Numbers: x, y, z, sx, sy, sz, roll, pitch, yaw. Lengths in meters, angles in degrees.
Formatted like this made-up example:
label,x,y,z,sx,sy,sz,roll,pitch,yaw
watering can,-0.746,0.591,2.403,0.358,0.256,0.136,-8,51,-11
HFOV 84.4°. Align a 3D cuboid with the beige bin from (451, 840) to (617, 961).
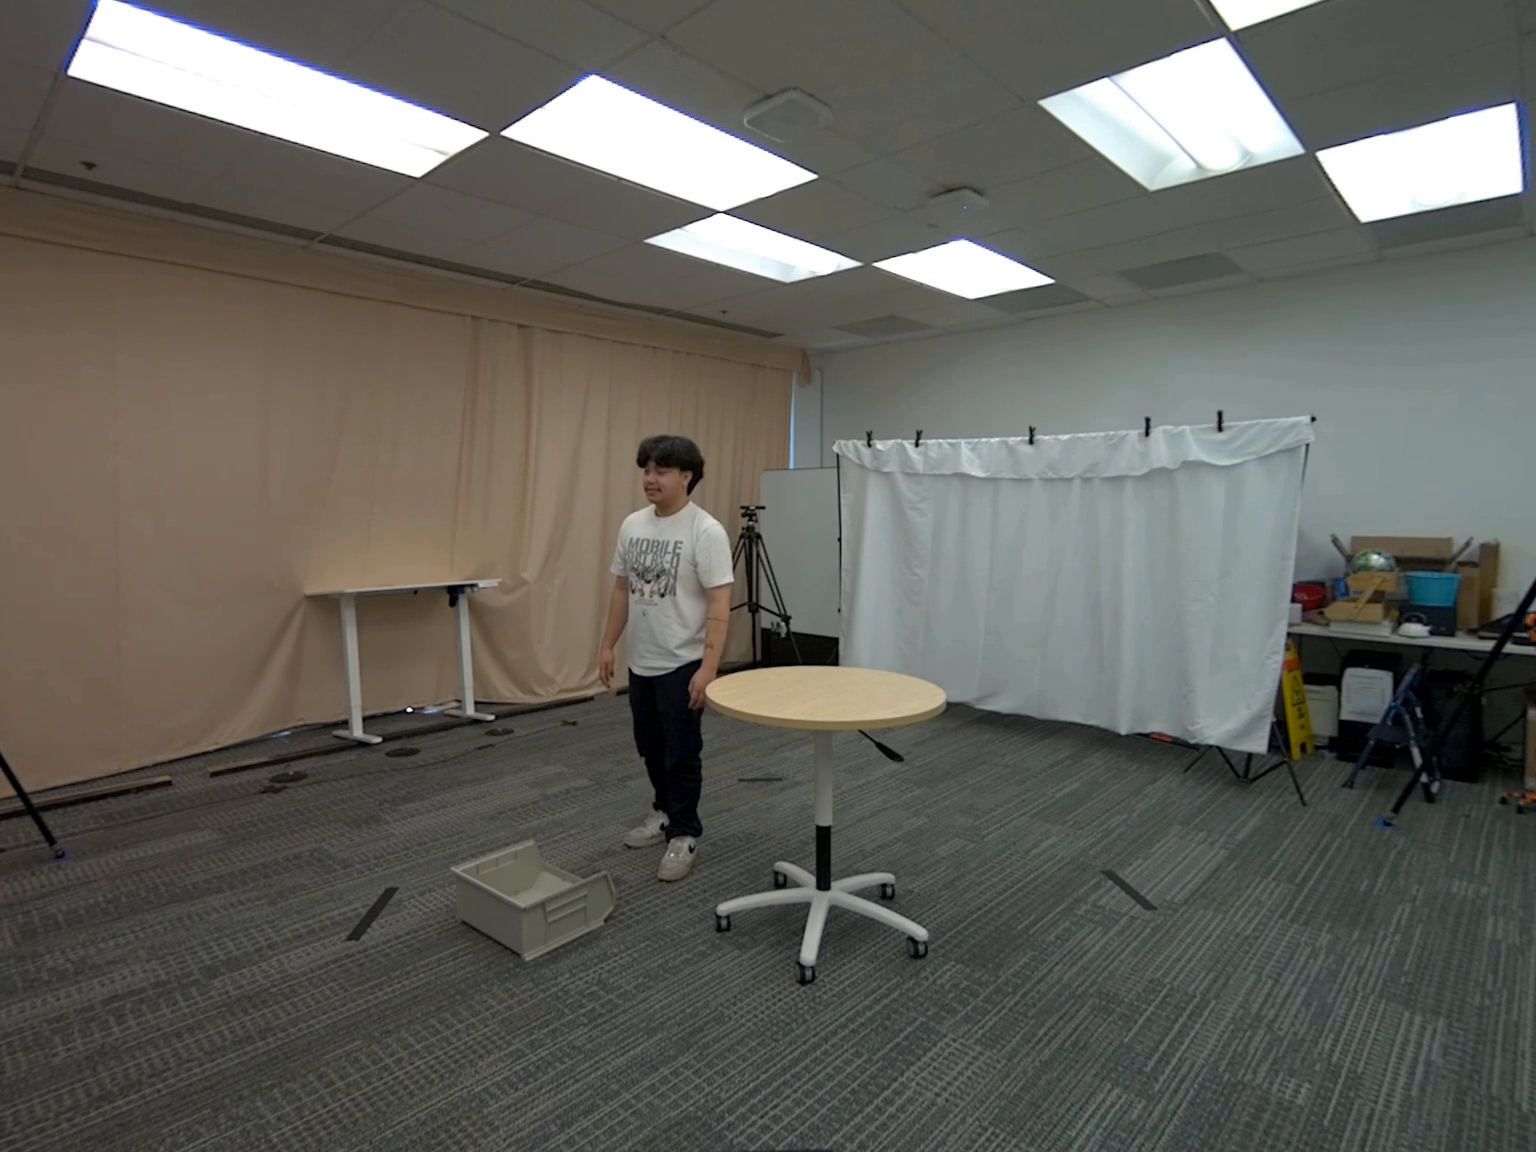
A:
label,x,y,z,sx,sy,sz,roll,pitch,yaw
beige bin,-0.800,1.079,2.839,0.436,0.188,0.366,4,7,39
